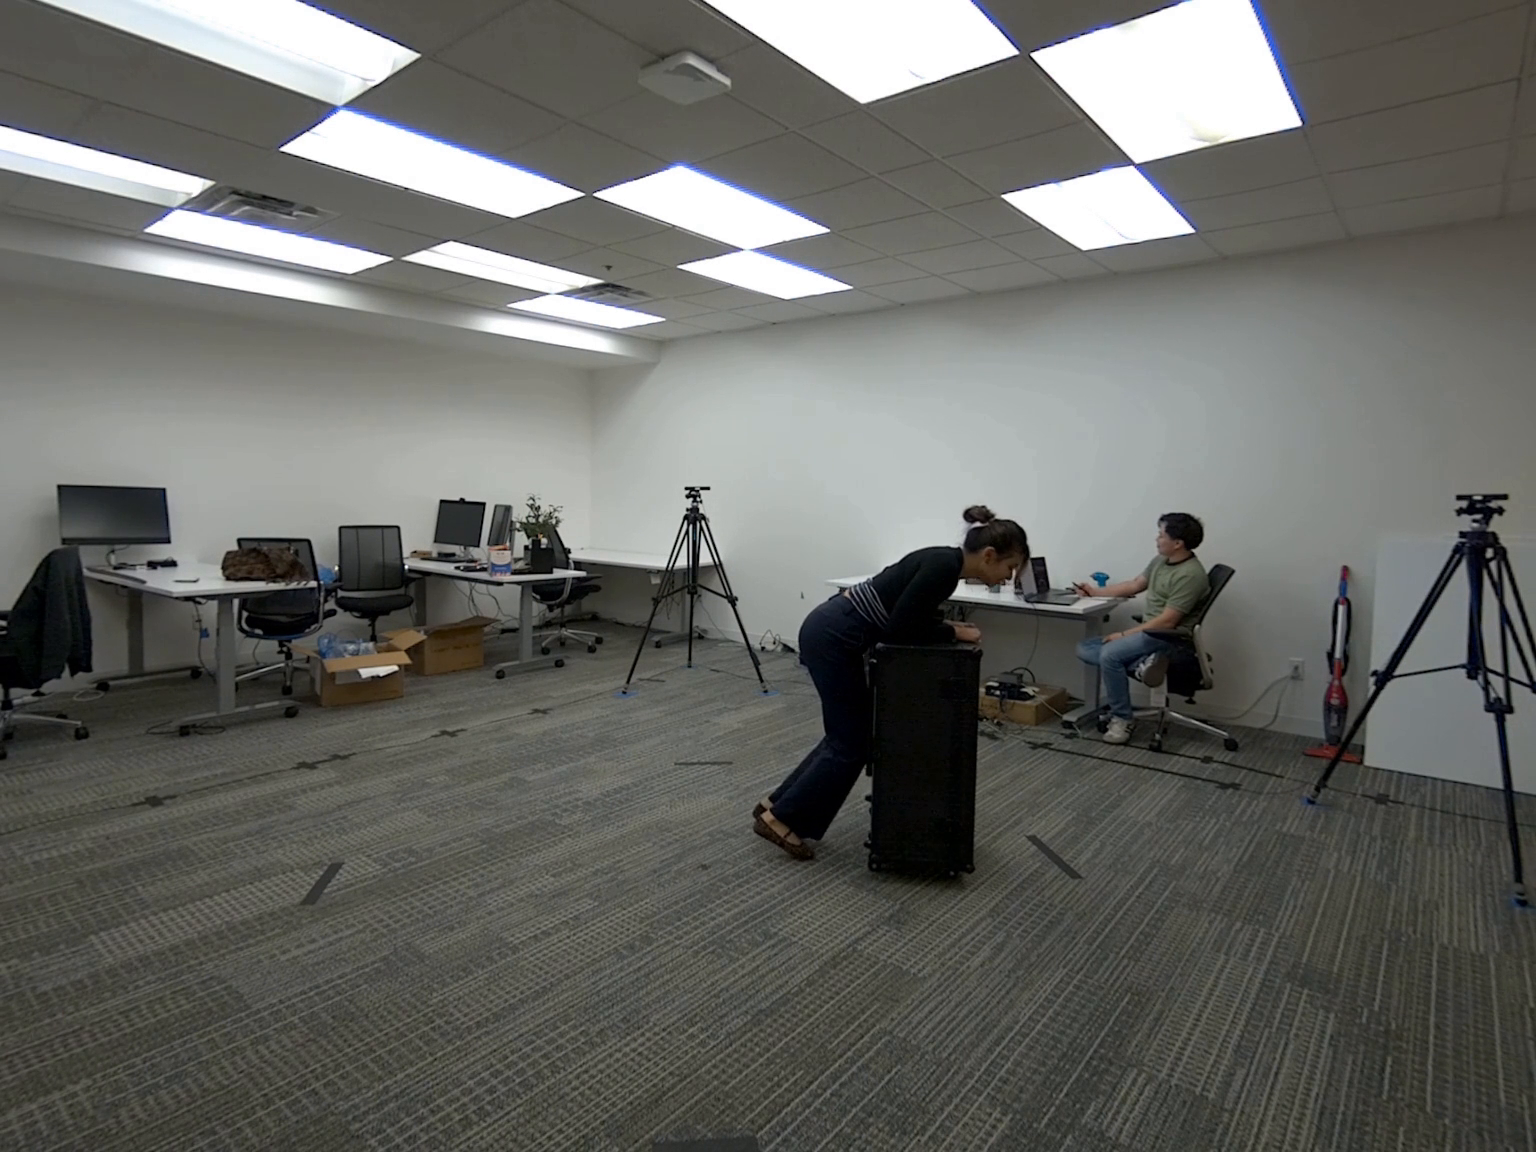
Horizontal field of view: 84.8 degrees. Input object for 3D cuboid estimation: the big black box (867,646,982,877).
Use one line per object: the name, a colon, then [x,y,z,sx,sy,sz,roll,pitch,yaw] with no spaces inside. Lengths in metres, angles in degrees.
big black box: [0.564,0.654,3.195,0.401,0.859,0.517,0,3,10]
